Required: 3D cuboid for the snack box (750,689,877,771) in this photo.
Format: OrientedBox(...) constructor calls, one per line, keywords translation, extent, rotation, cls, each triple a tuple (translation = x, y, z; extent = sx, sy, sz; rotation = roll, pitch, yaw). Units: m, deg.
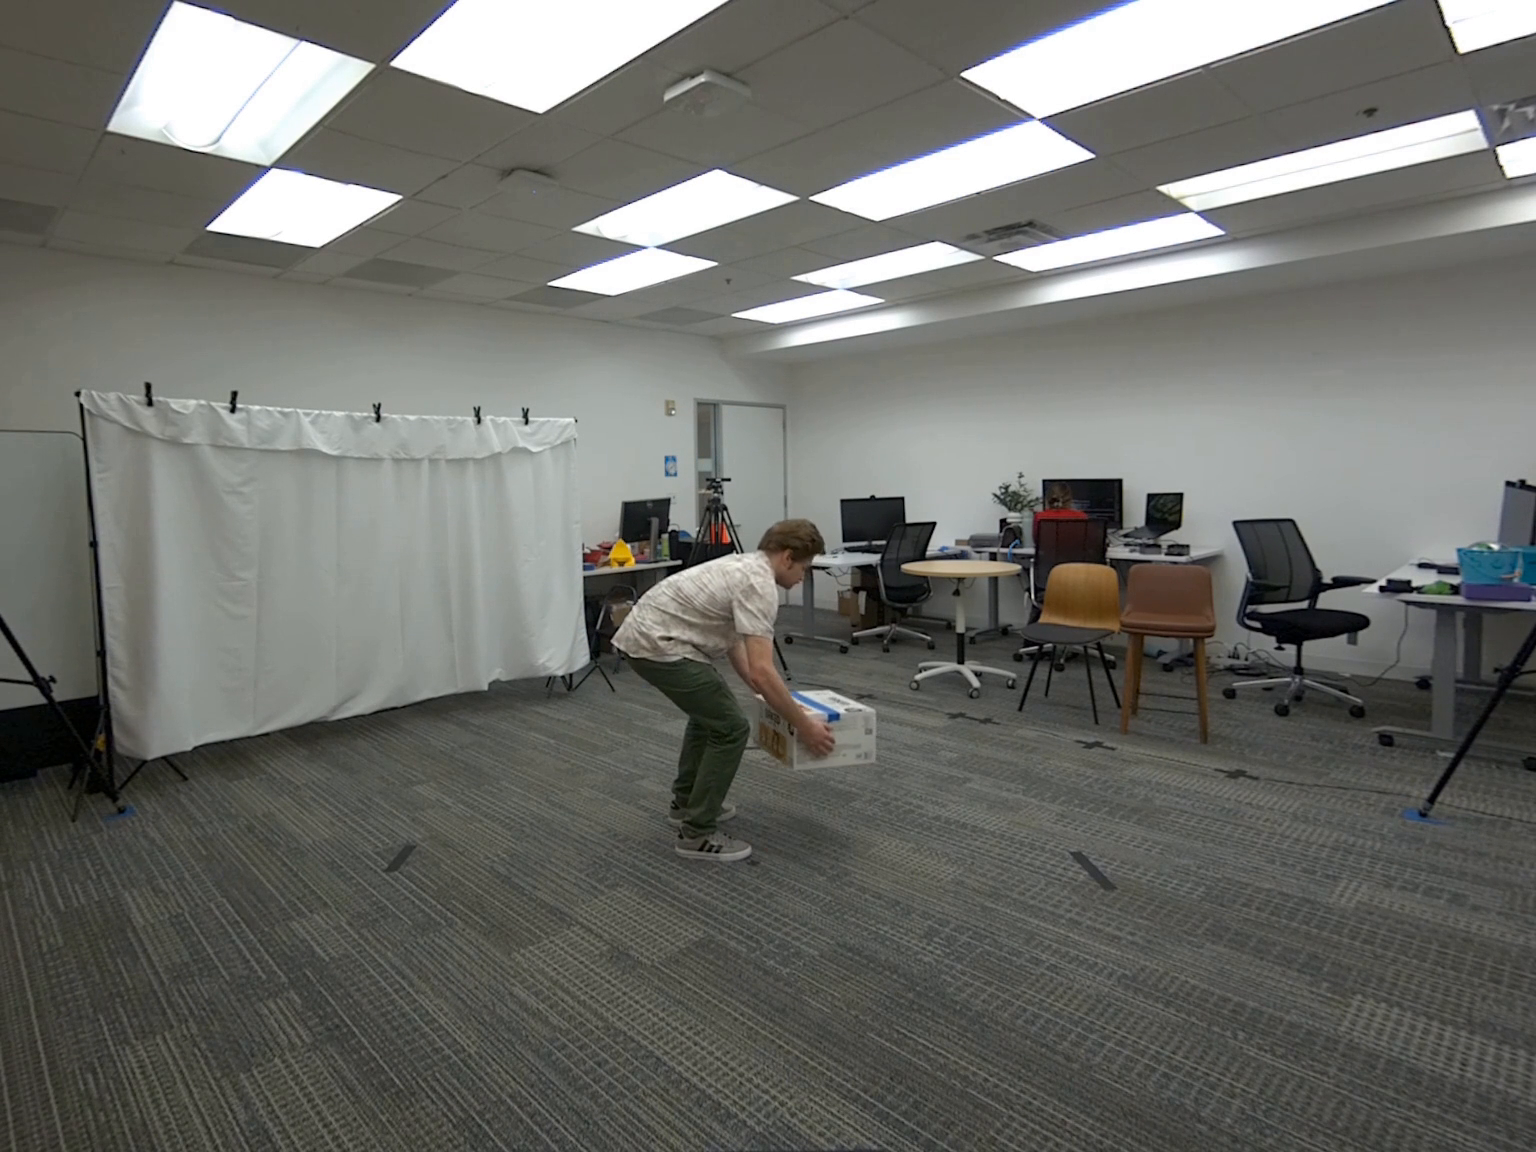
OrientedBox(translation=(0.172, 0.594, 3.357), extent=(0.334, 0.205, 0.413), rotation=(-1, 4, -21), cls="snack box")
